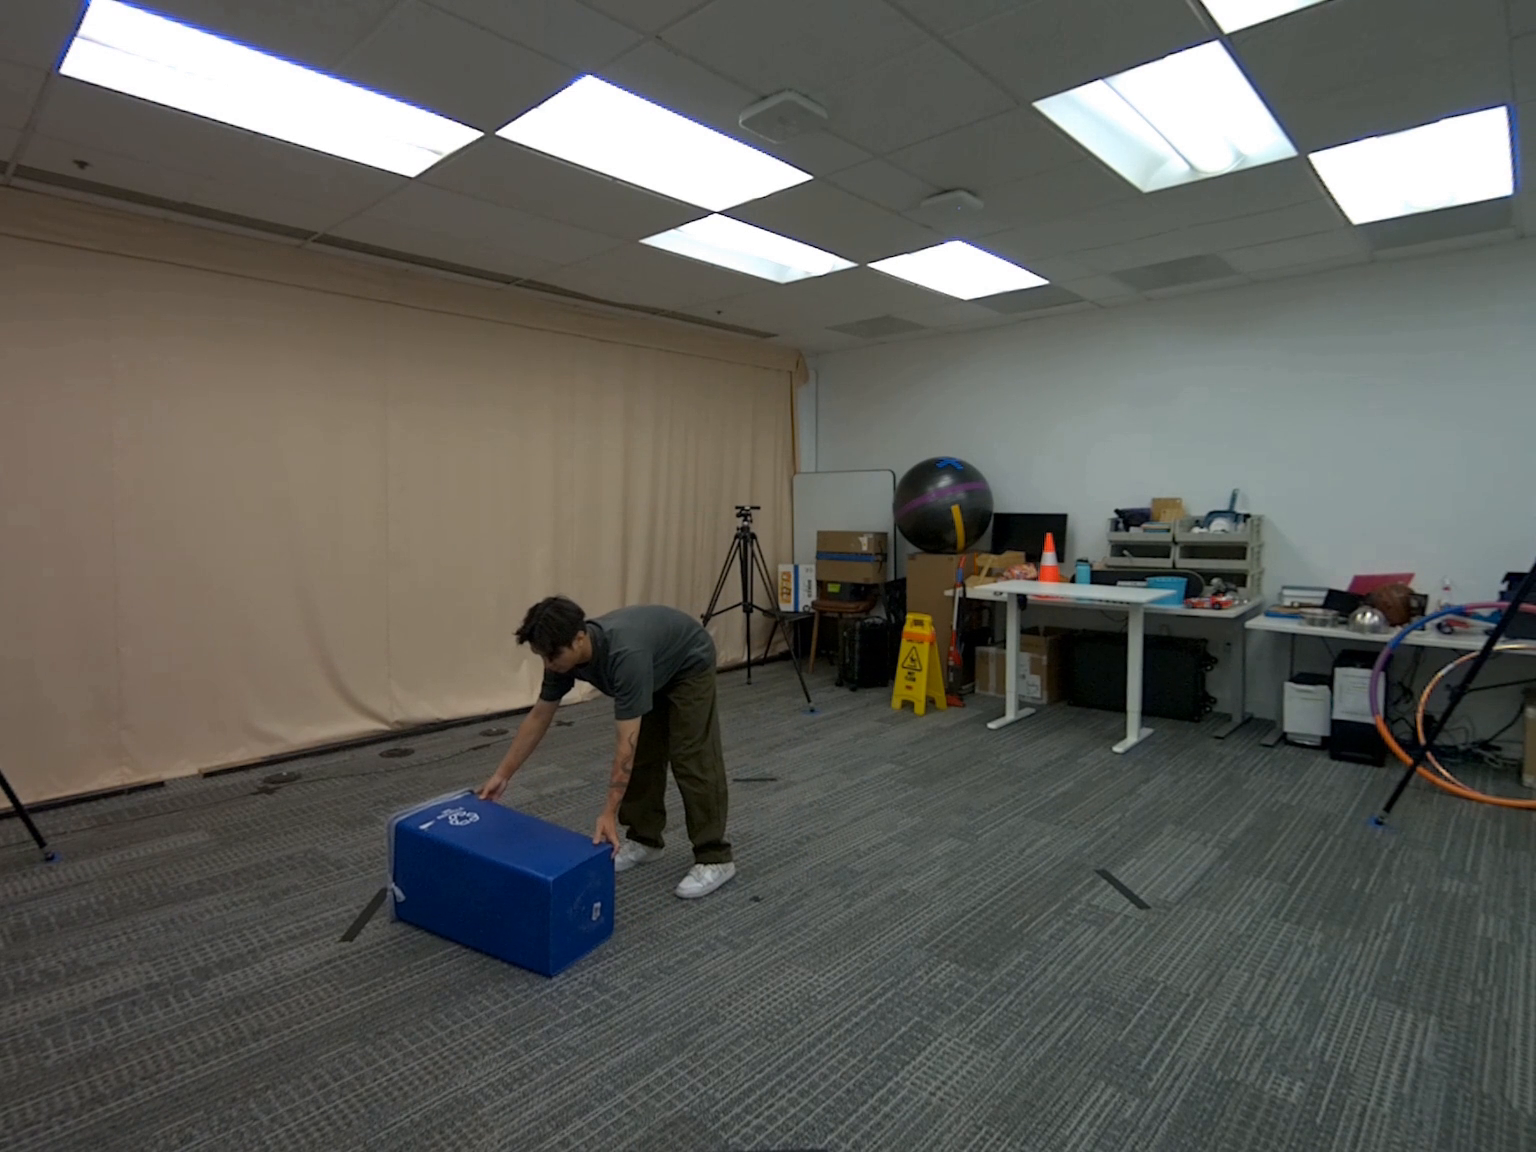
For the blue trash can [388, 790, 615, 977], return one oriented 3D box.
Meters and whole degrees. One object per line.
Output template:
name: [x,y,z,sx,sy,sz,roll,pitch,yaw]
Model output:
blue trash can: [-0.879,0.991,2.783,0.735,0.373,0.368,4,5,31]
